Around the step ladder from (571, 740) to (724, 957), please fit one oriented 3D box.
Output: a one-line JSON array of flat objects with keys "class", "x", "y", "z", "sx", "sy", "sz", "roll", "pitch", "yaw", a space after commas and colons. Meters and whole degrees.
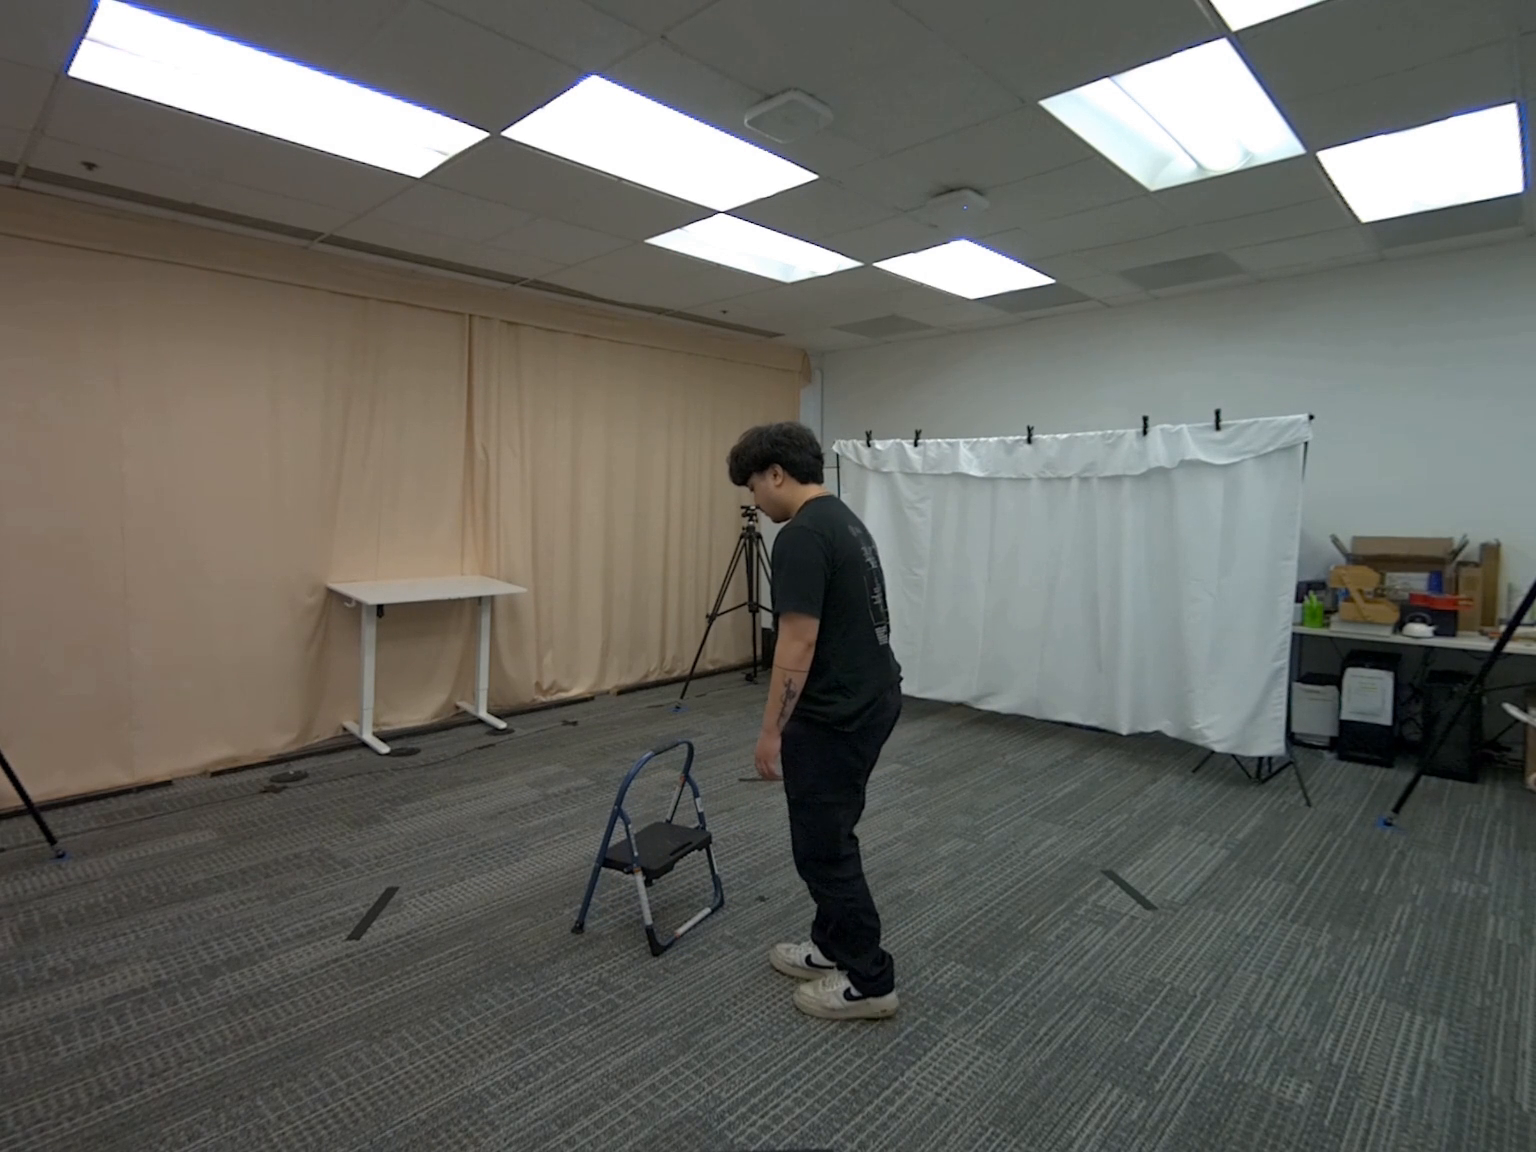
[{"class": "step ladder", "x": -0.400, "y": 0.854, "z": 2.840, "sx": 0.359, "sy": 0.605, "sz": 0.419, "roll": 1, "pitch": 4, "yaw": 29}]
